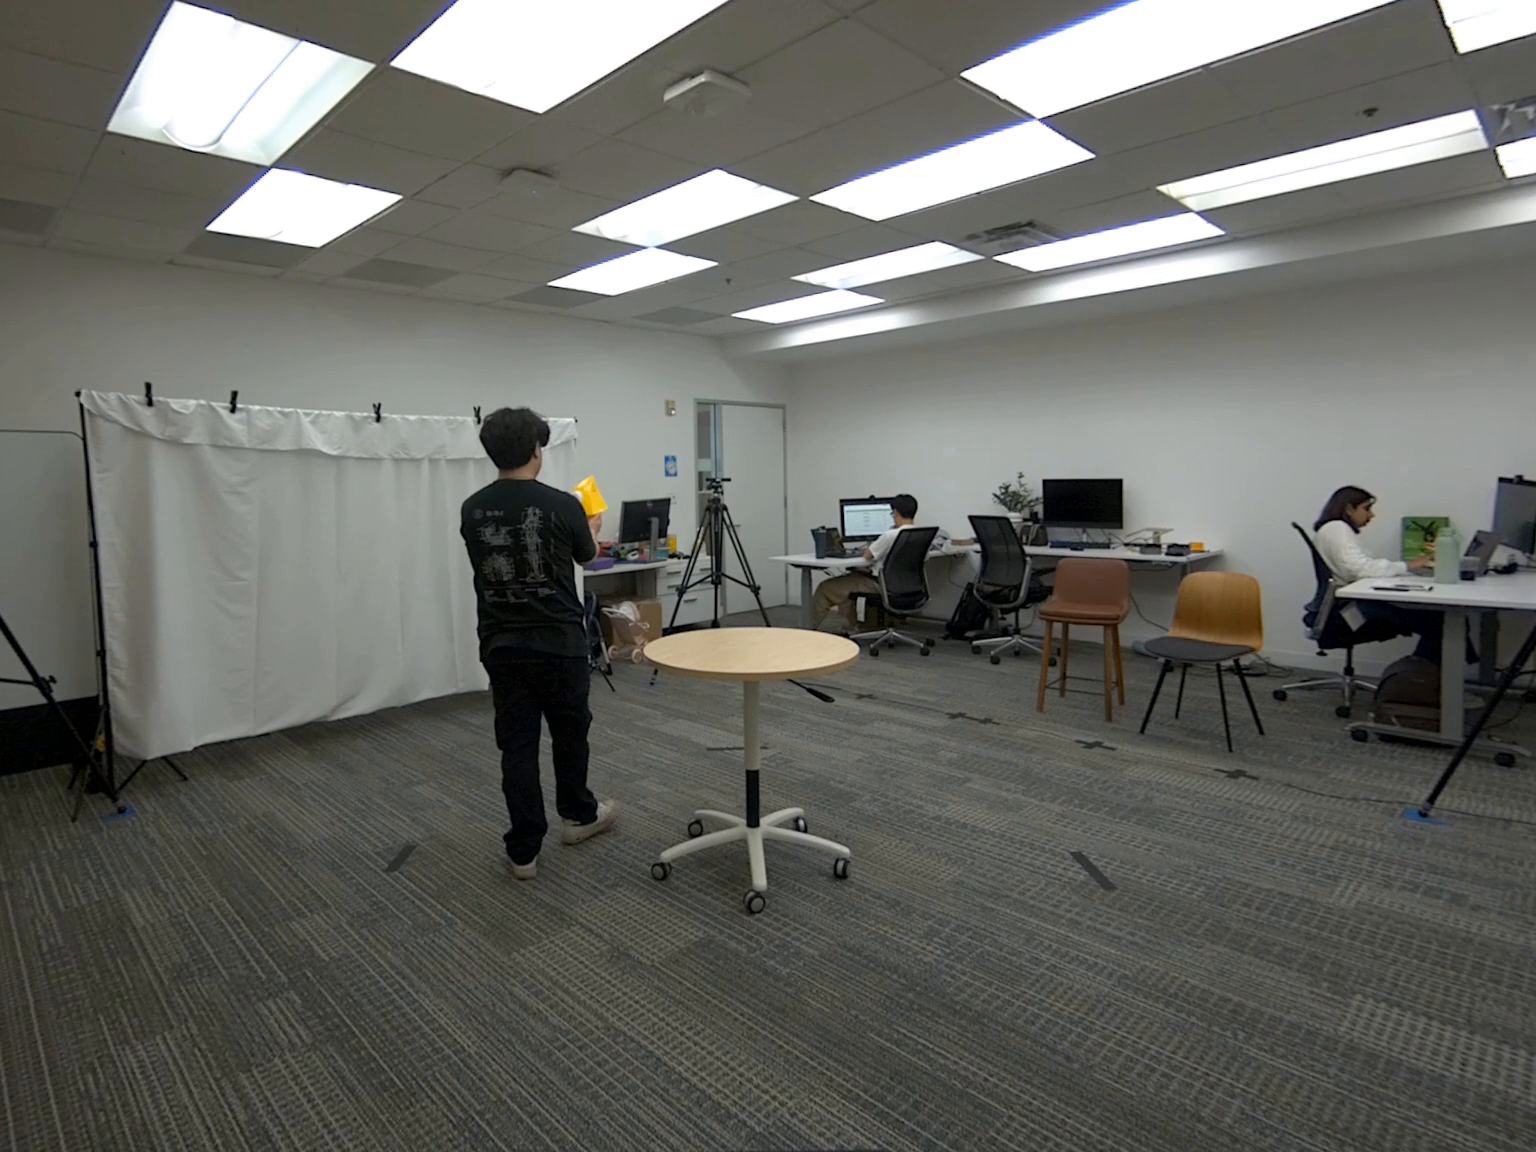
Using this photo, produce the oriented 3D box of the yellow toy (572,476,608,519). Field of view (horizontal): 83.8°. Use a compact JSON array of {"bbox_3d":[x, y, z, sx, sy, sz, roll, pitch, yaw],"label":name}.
[{"bbox_3d":[-0.793,-0.308,3.600,0.194,0.229,0.205,0,10,7],"label":"yellow toy"}]
